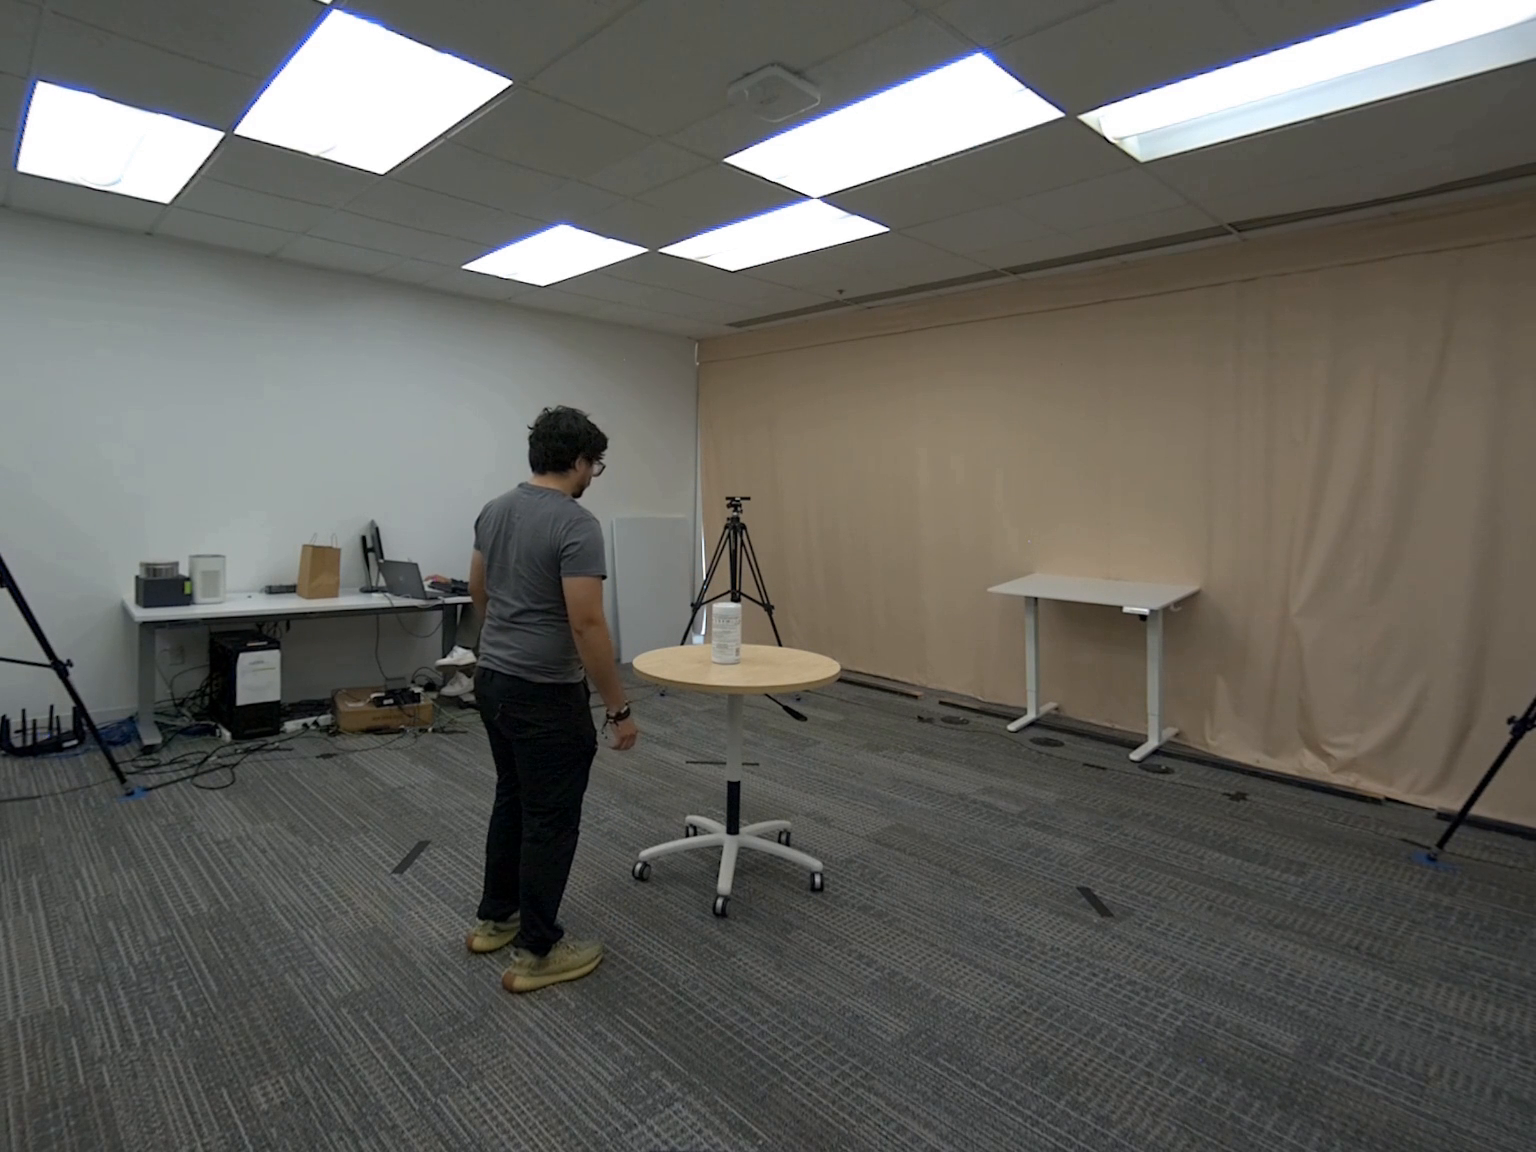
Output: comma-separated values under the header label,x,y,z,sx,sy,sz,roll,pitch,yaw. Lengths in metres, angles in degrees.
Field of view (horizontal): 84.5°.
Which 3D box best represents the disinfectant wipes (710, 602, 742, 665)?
label,x,y,z,sx,sy,sz,roll,pitch,yaw
disinfectant wipes,-0.156,0.211,3.108,0.118,0.217,0.118,1,4,-1
